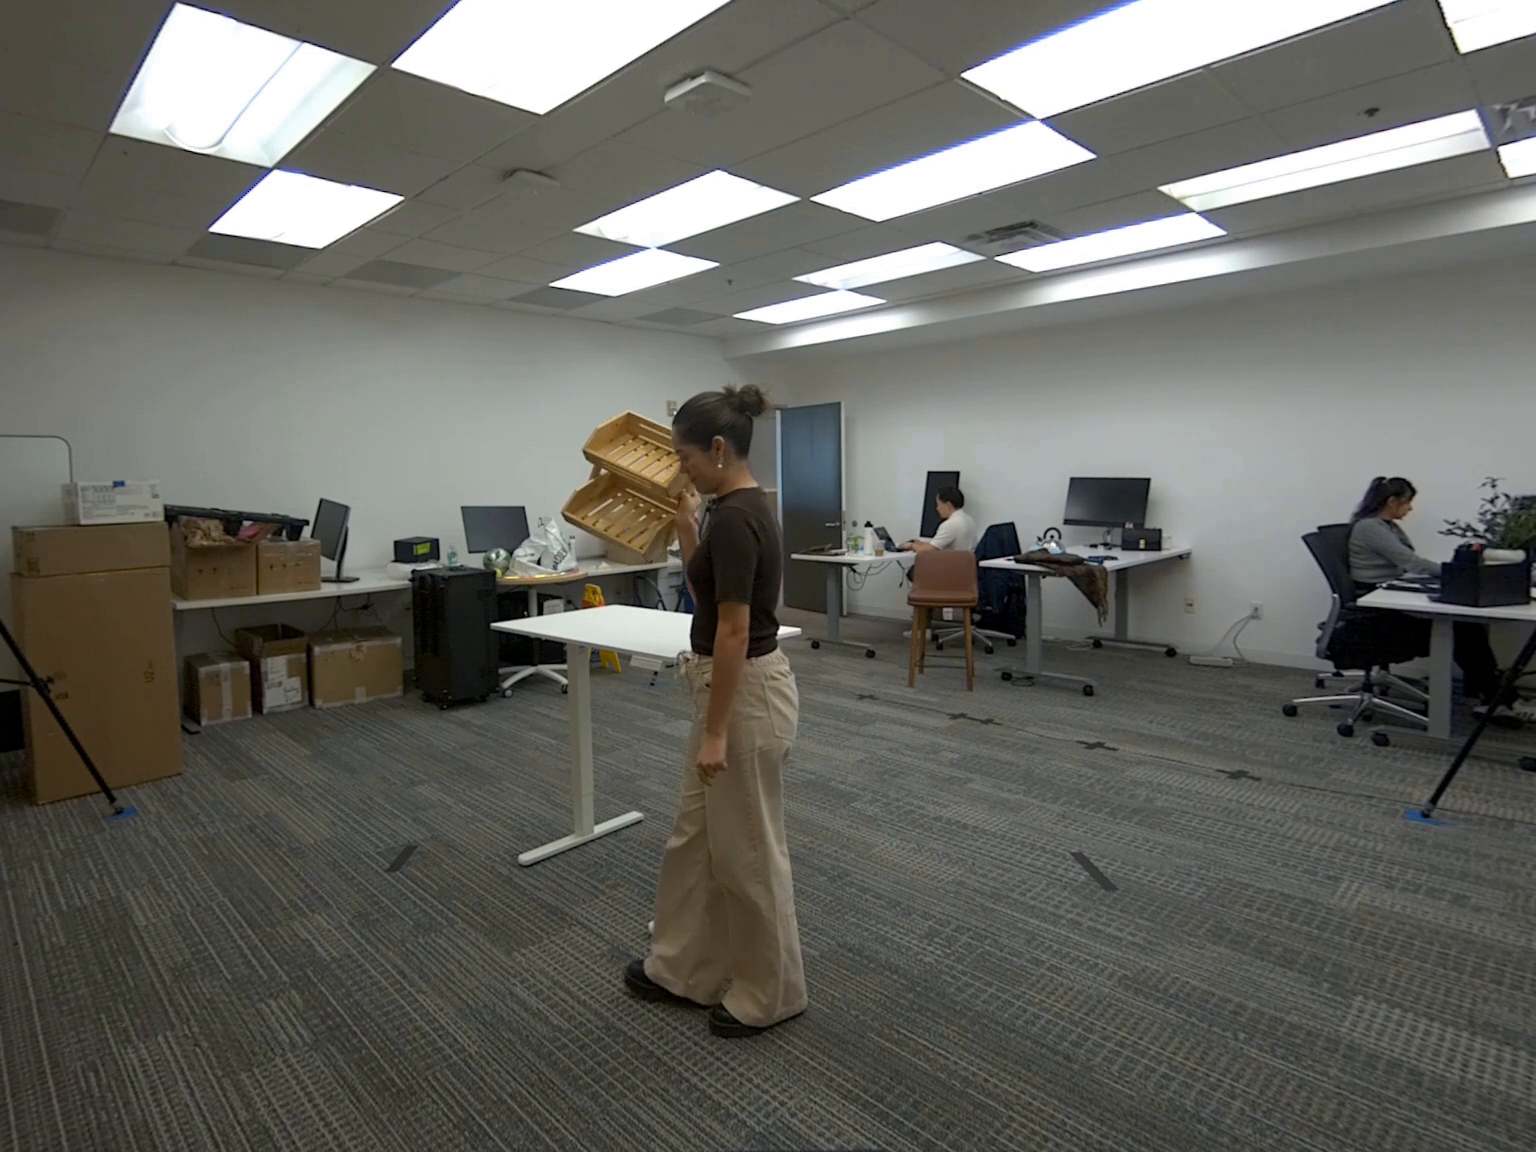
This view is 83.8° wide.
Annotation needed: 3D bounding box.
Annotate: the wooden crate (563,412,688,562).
[{"bbox_3d":[-0.380,-0.264,2.458,0.333,0.267,0.301,25,40,21],"label":"wooden crate"}]
